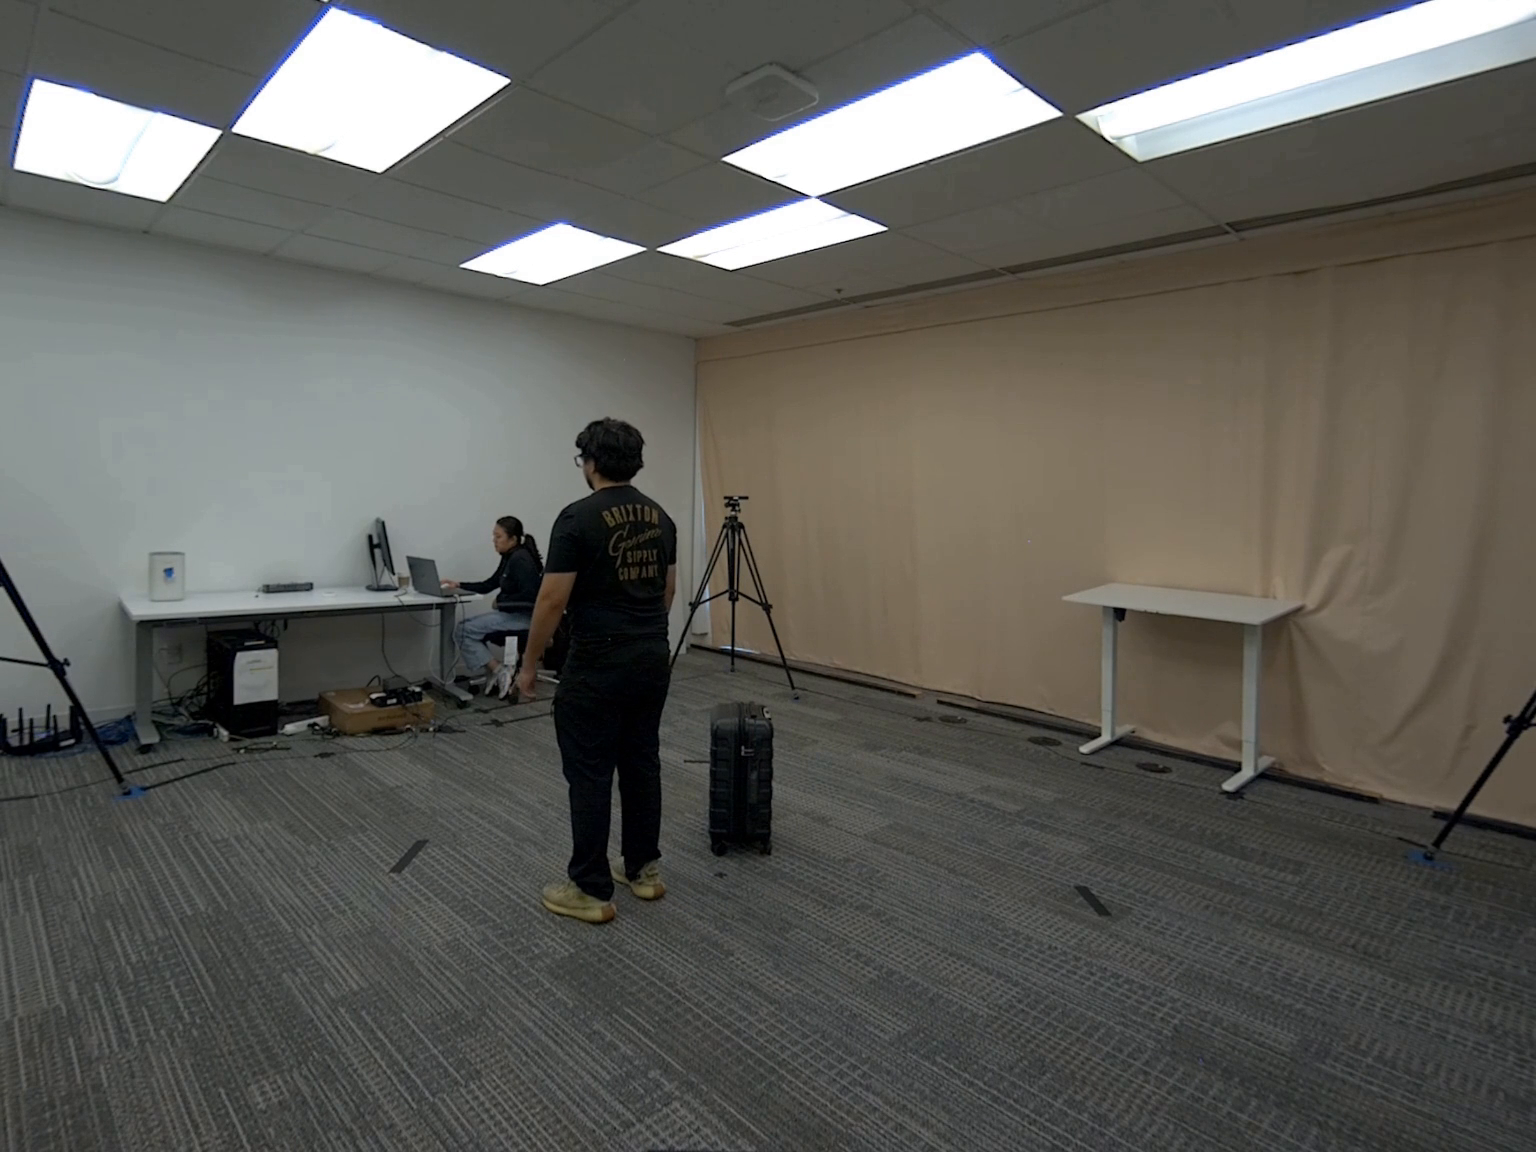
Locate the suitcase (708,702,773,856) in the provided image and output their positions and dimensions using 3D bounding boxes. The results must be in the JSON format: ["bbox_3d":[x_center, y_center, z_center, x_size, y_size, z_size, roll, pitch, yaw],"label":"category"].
[{"bbox_3d":[-0.112,0.801,3.409,0.248,0.548,0.377,1,4,-4],"label":"suitcase"}]
